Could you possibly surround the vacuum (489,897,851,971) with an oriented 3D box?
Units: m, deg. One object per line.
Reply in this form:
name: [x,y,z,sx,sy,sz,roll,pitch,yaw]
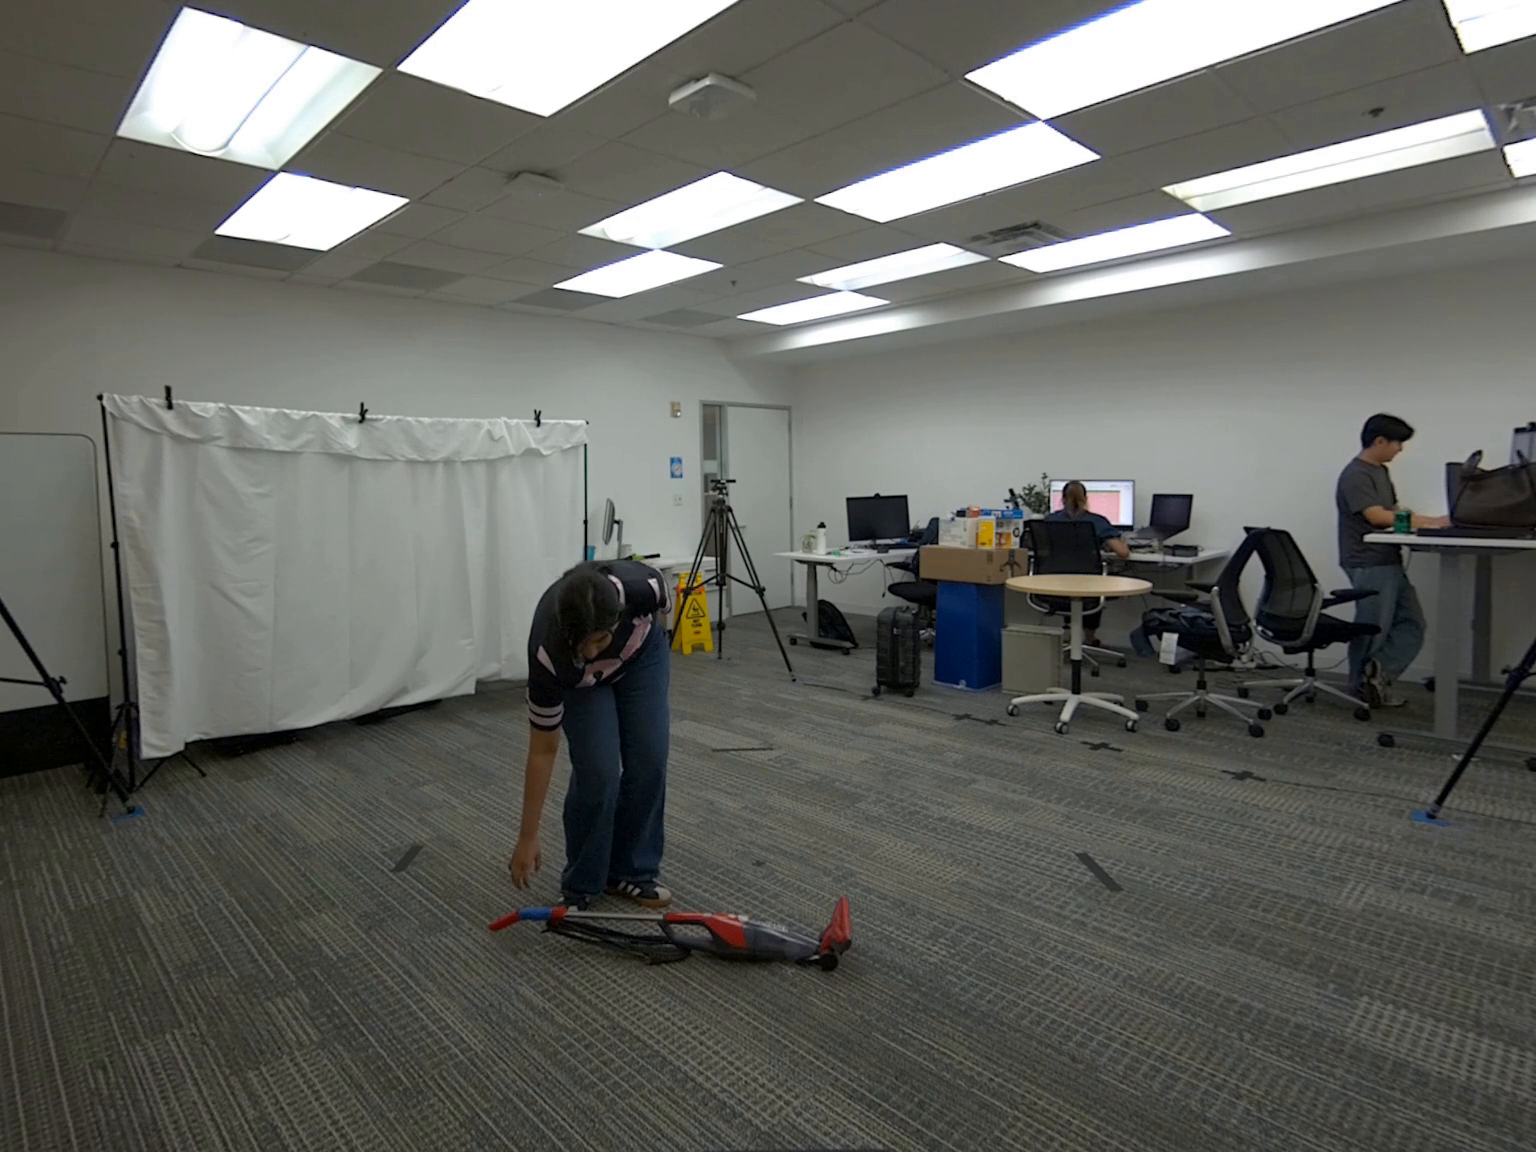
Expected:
vacuum: [-0.317,1.055,2.532,1.054,0.143,0.252,-1,6,5]
